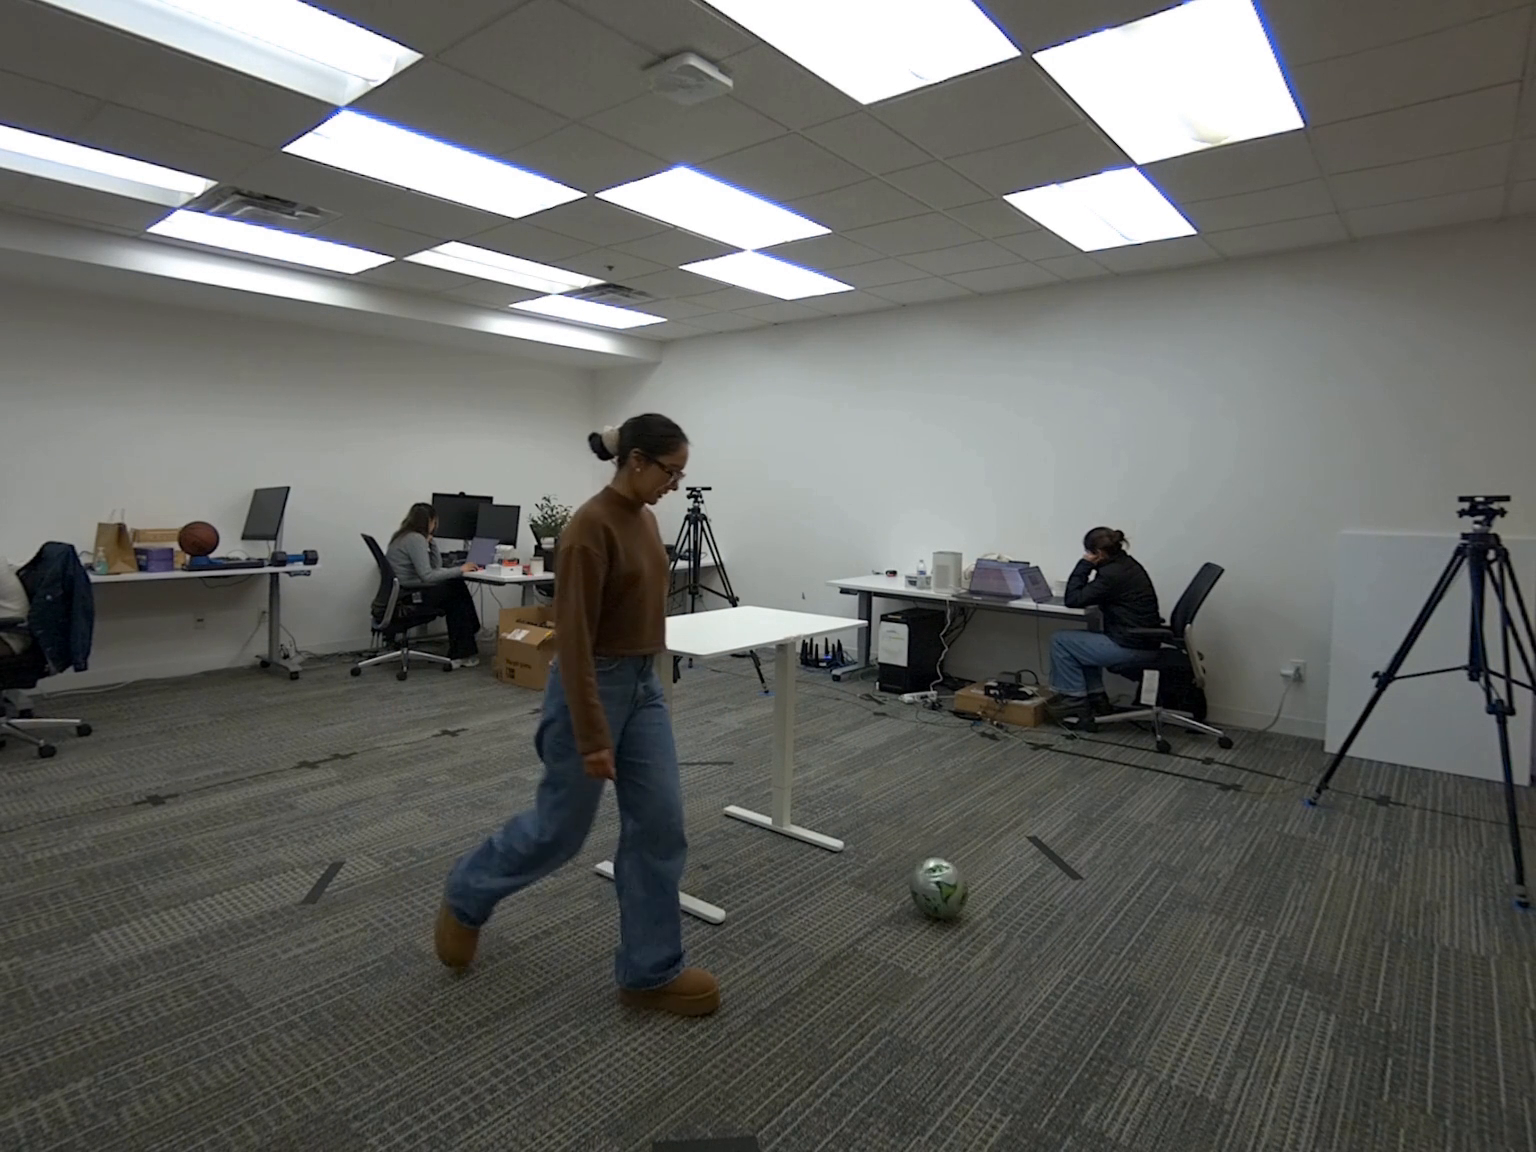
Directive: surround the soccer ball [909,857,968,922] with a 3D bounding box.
[{"bbox_3d":[0.554,1.021,2.793,0.187,0.187,0.188,1,4,-2],"label":"soccer ball"}]
